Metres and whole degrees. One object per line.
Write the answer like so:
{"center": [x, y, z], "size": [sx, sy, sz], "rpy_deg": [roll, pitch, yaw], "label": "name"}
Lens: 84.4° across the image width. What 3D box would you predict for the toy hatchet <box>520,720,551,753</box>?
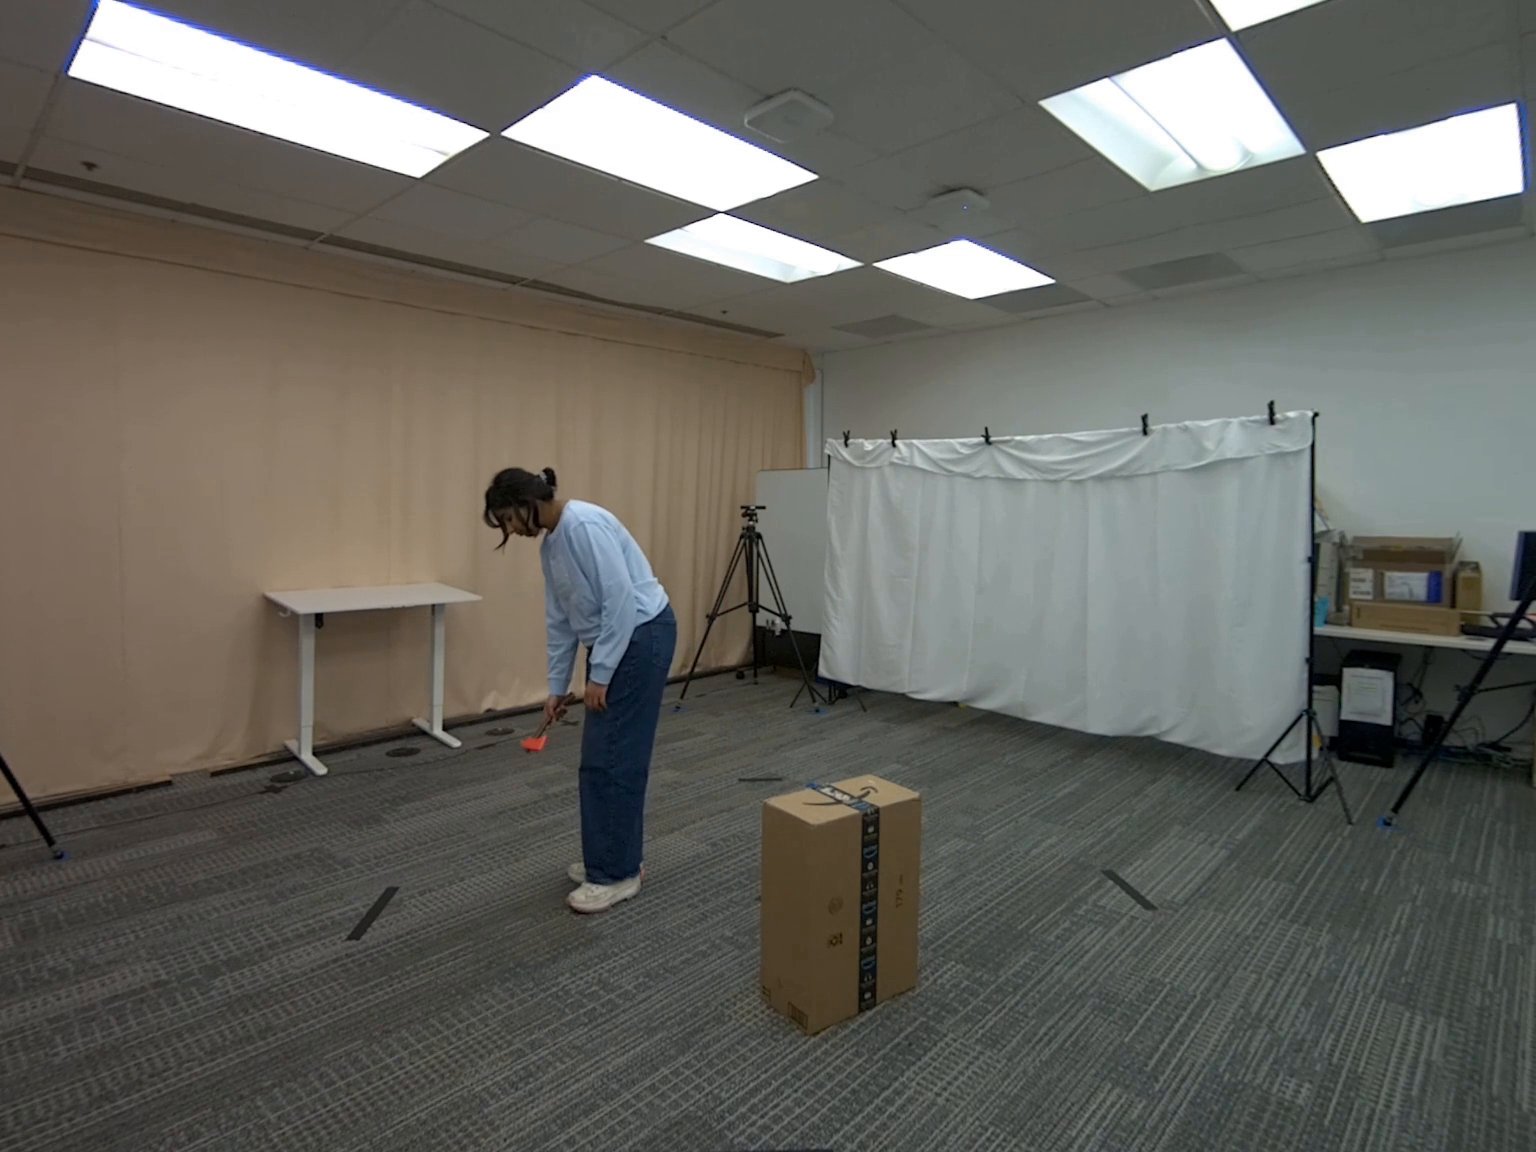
{"center": [-0.801, 0.558, 3.129], "size": [0.269, 0.029, 0.135], "rpy_deg": [-43, 33, -12], "label": "toy hatchet"}
